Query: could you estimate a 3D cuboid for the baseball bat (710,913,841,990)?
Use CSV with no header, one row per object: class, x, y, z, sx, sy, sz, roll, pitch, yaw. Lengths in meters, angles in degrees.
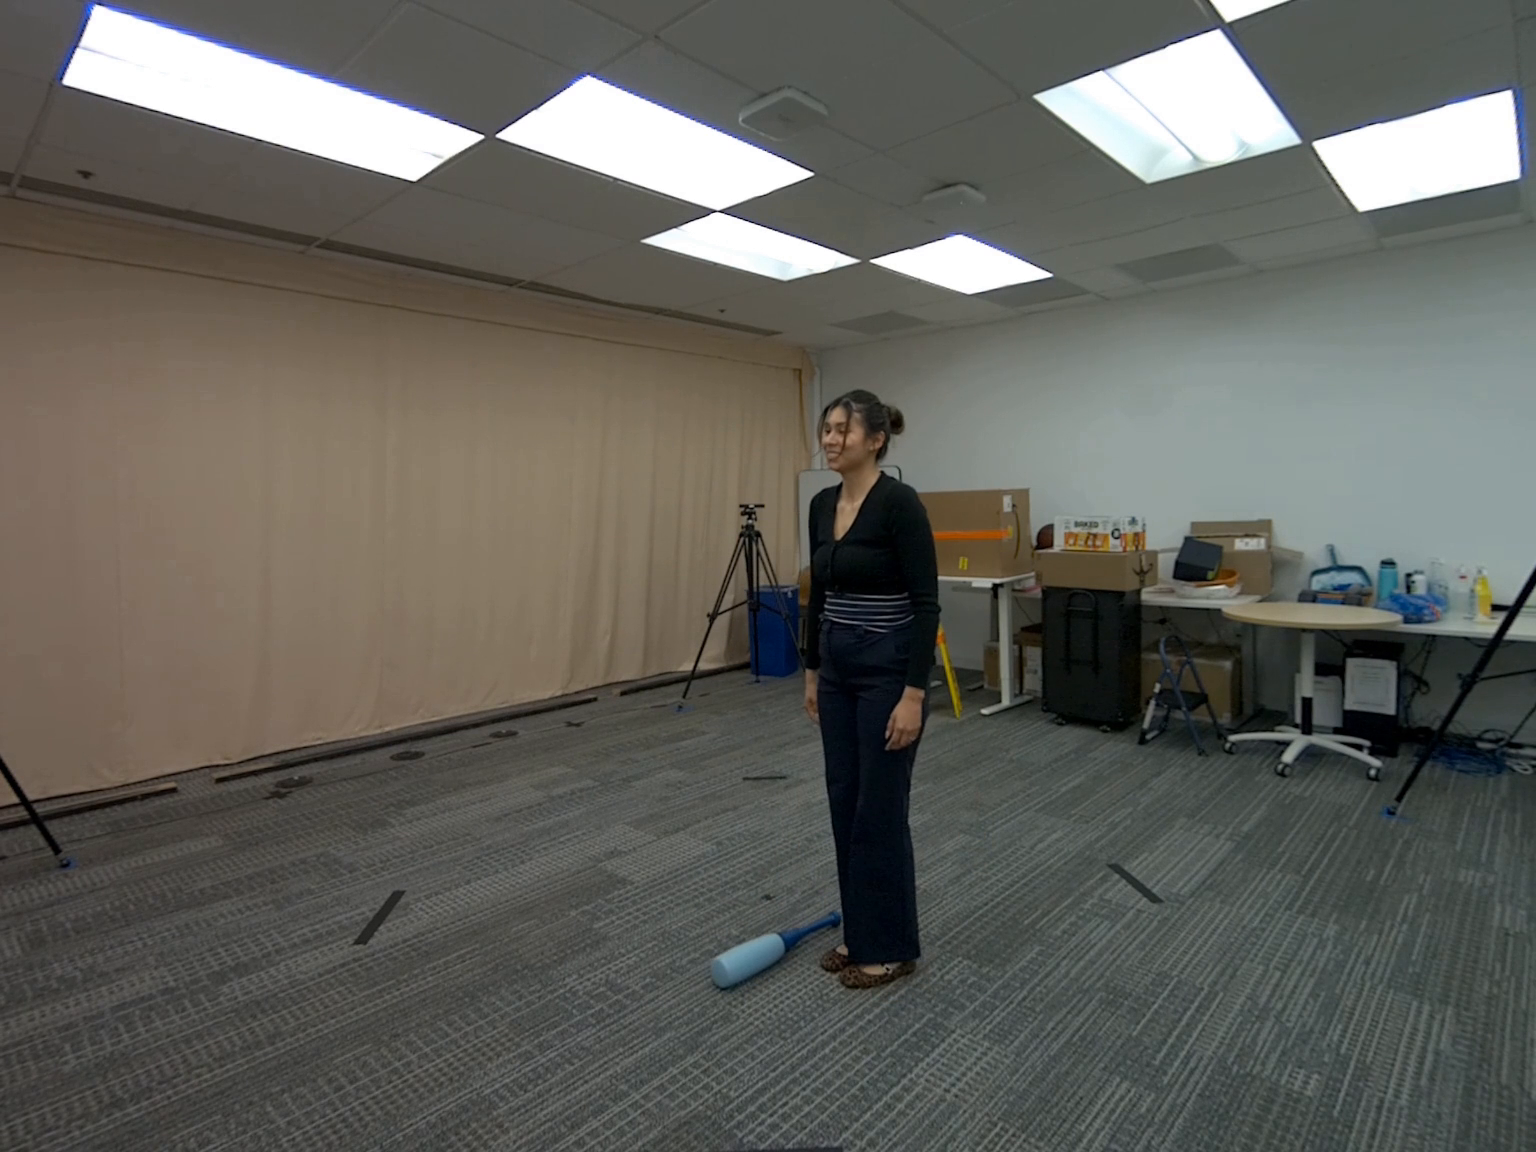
baseball bat,0.047,1.141,2.595,0.526,0.089,0.092,-1,3,-44
